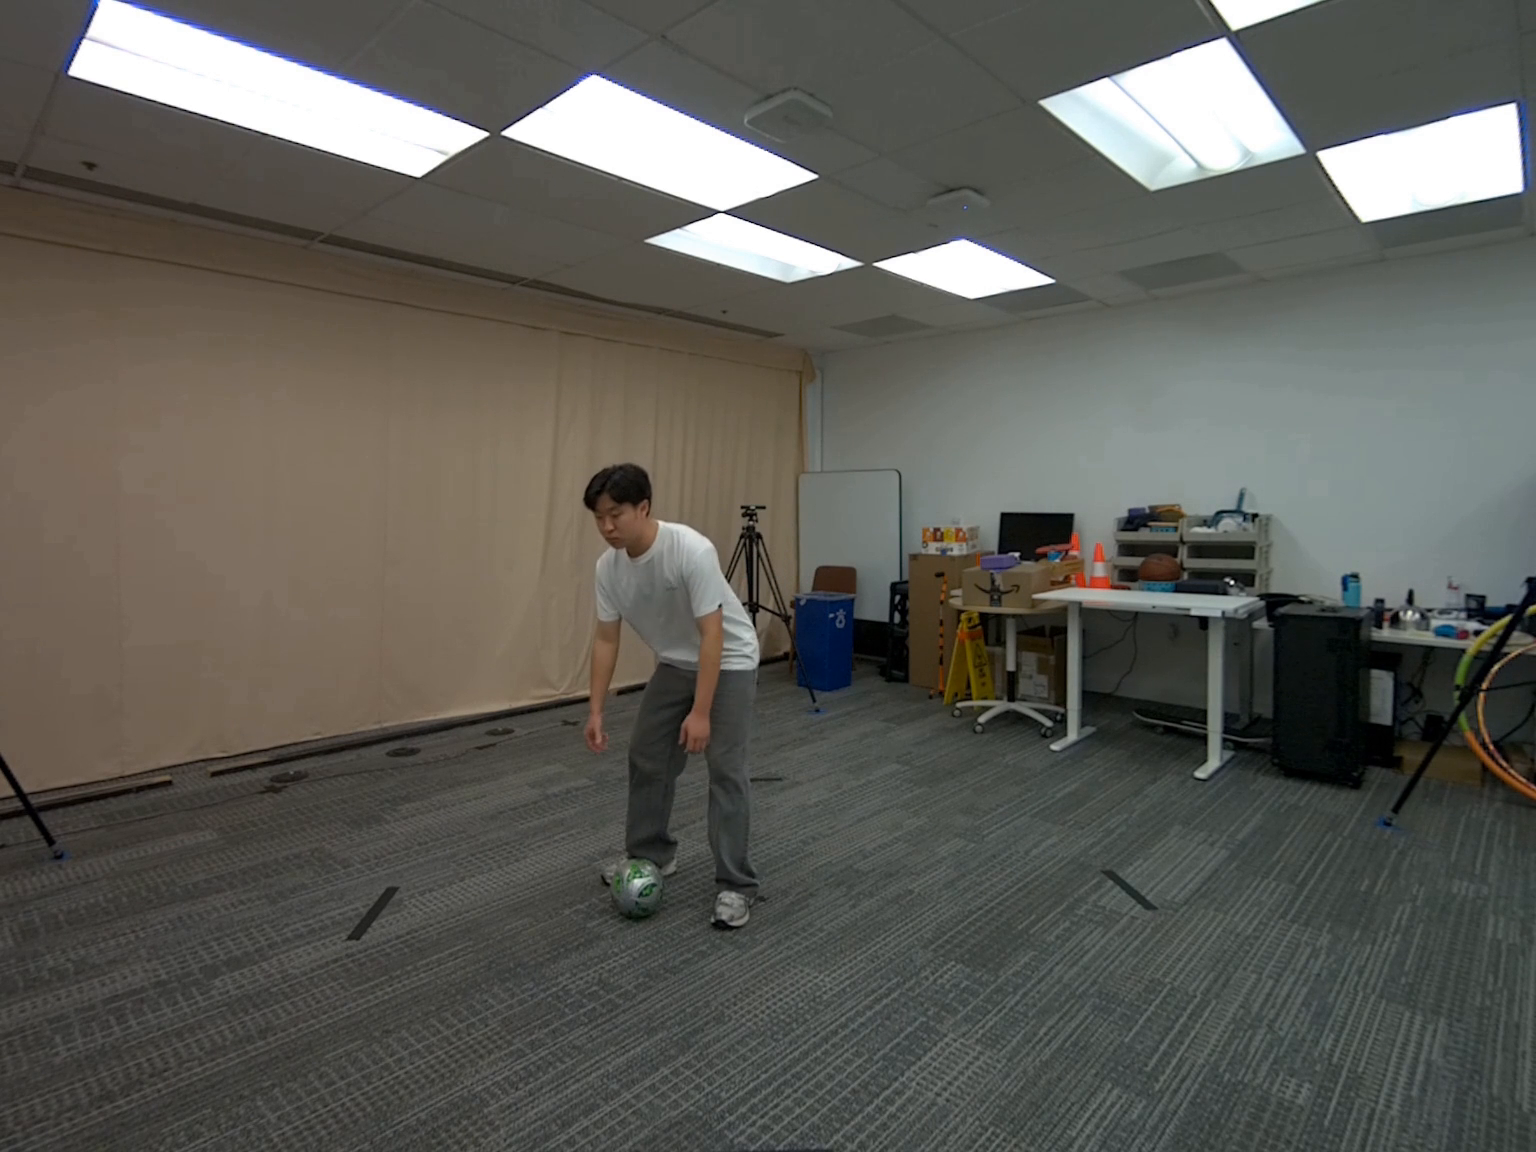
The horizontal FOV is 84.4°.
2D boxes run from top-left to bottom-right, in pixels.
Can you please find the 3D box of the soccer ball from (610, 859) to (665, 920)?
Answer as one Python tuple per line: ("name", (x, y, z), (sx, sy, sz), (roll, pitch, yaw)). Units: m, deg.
("soccer ball", (-0.447, 1.056, 2.886), (0.187, 0.187, 0.188), (0, 4, -2))
